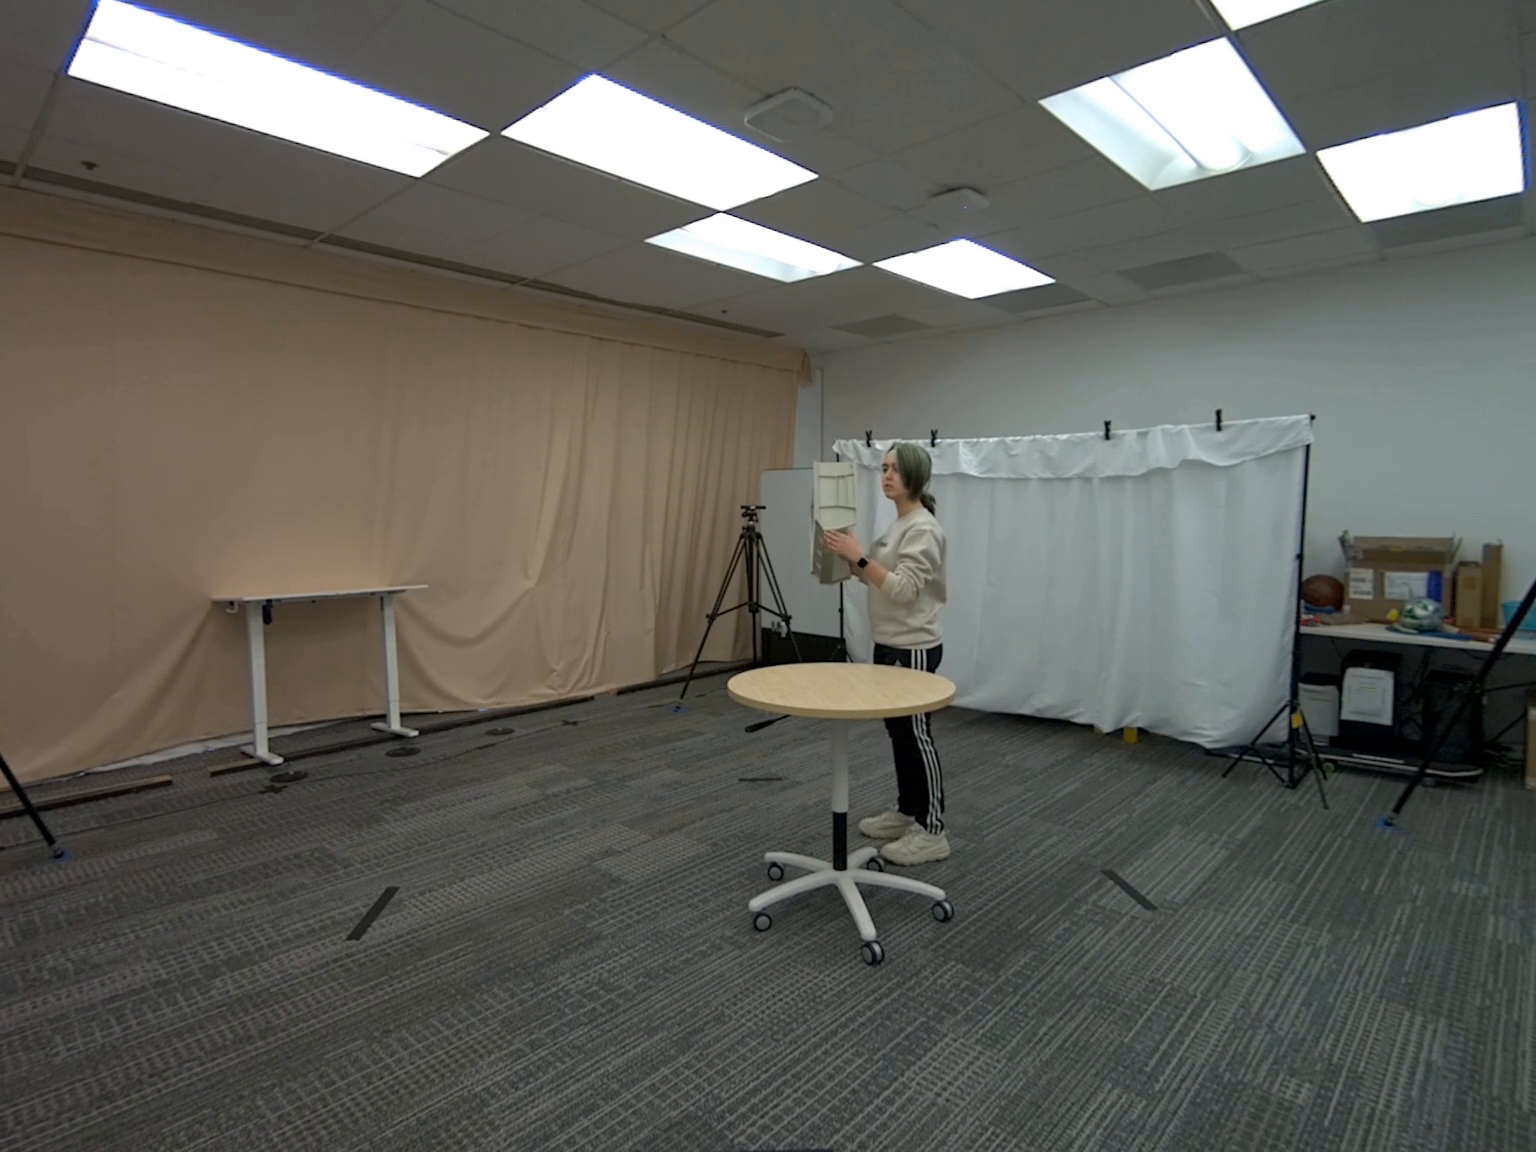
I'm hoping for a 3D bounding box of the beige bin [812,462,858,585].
[{"bbox_3d":[0.280,-0.226,3.641,0.190,0.383,0.414,1,-33,2],"label":"beige bin"}]
